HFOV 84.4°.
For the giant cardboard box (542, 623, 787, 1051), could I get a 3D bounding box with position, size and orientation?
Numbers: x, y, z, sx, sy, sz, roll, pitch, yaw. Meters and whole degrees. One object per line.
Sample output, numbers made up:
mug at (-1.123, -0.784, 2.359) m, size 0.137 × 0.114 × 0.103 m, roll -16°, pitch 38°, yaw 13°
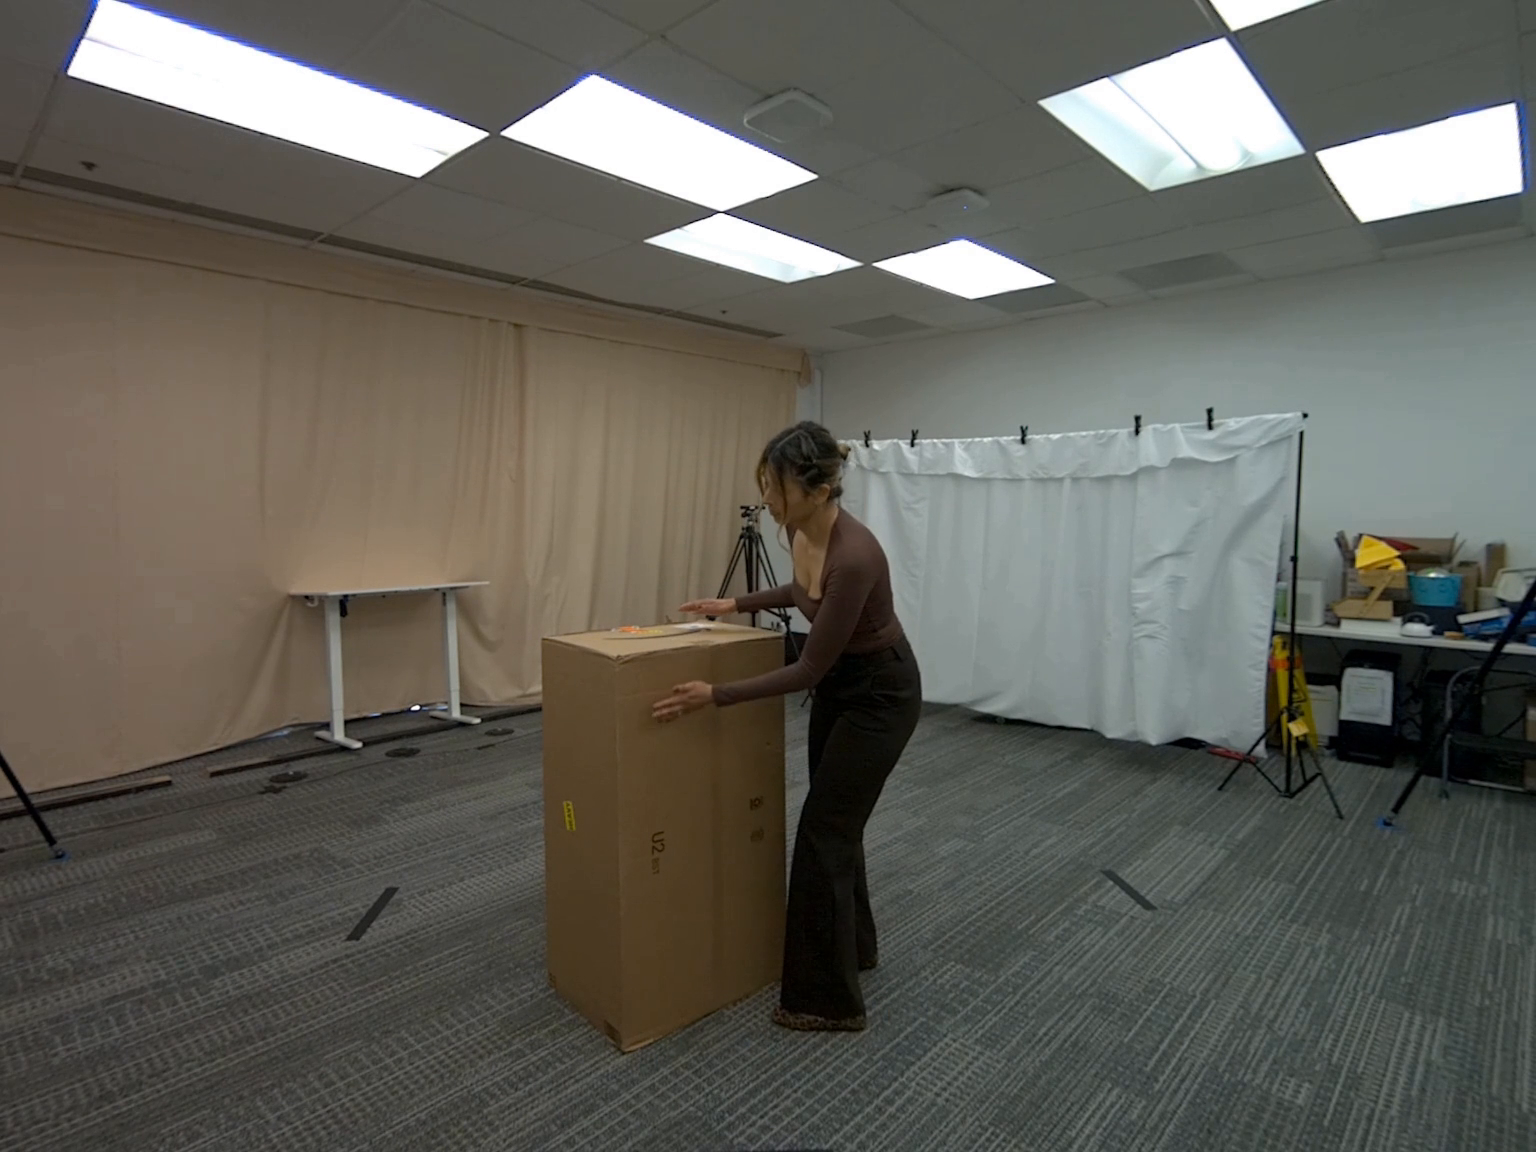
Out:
giant cardboard box at (-0.299, 0.679, 2.455) m, size 0.566 × 1.025 × 0.461 m, roll -3°, pitch 3°, yaw -39°
